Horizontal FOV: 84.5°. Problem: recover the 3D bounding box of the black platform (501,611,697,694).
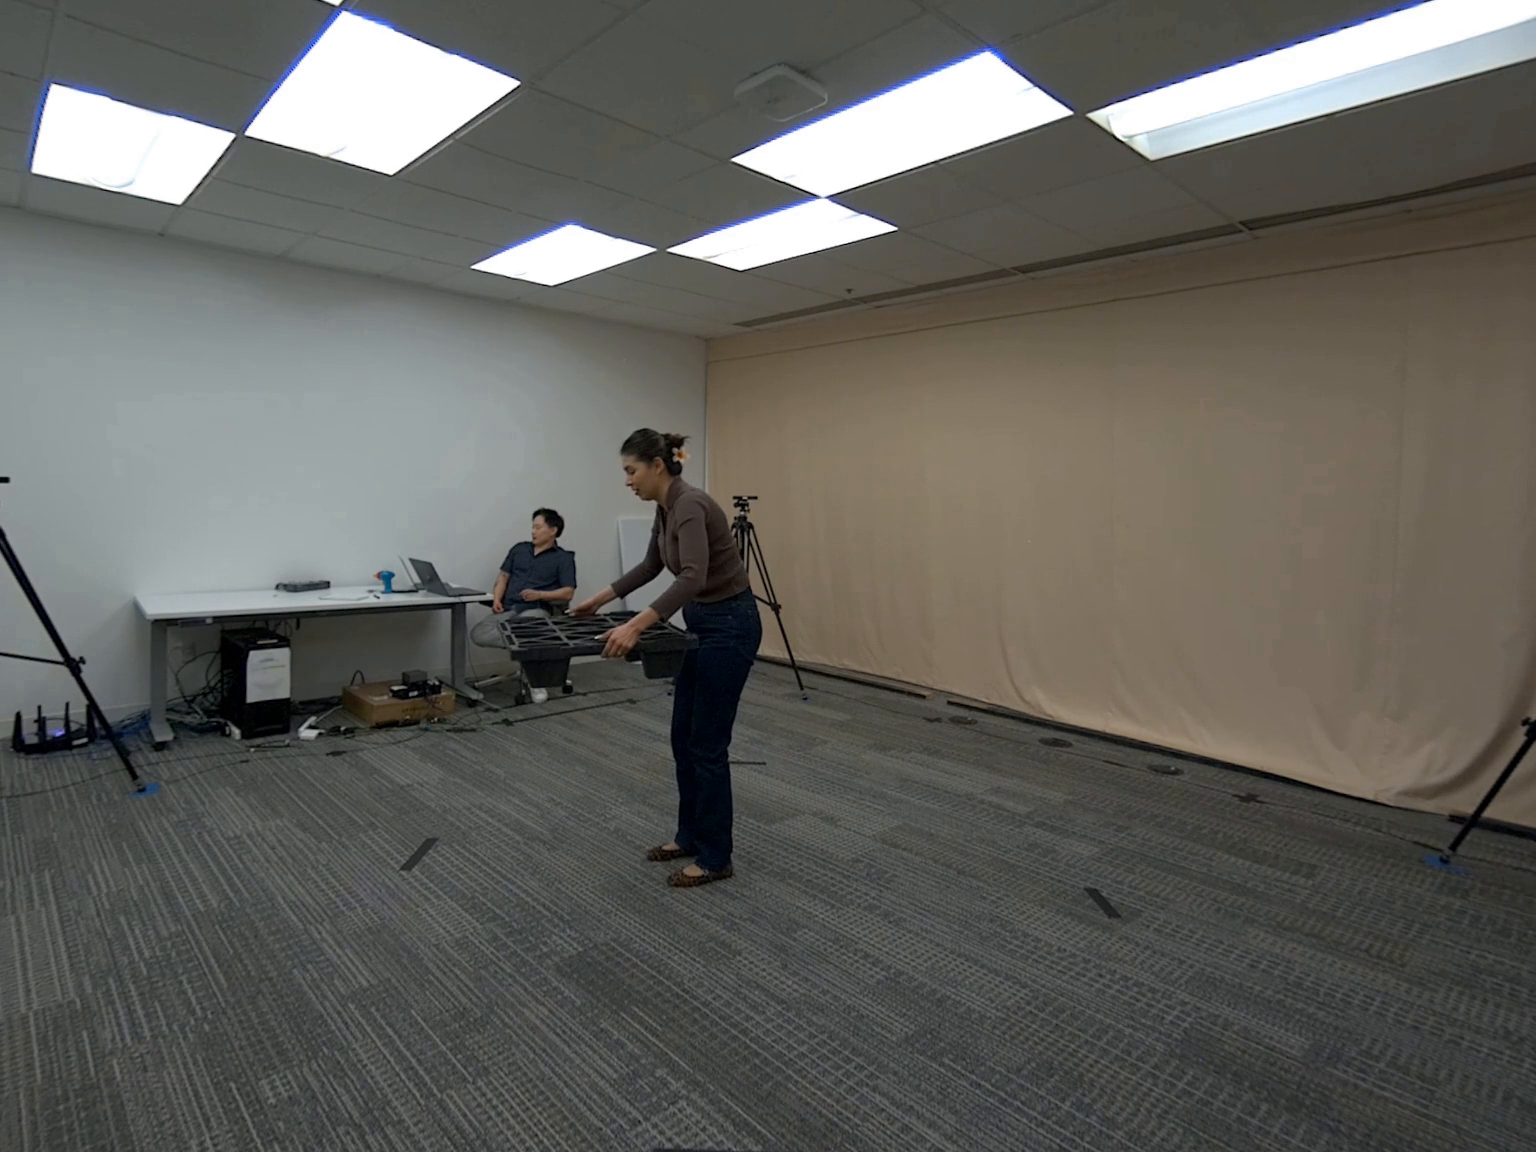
[{"bbox_3d":[-0.656,0.256,3.019,0.596,0.143,0.819,-2,5,-20],"label":"black platform"}]
